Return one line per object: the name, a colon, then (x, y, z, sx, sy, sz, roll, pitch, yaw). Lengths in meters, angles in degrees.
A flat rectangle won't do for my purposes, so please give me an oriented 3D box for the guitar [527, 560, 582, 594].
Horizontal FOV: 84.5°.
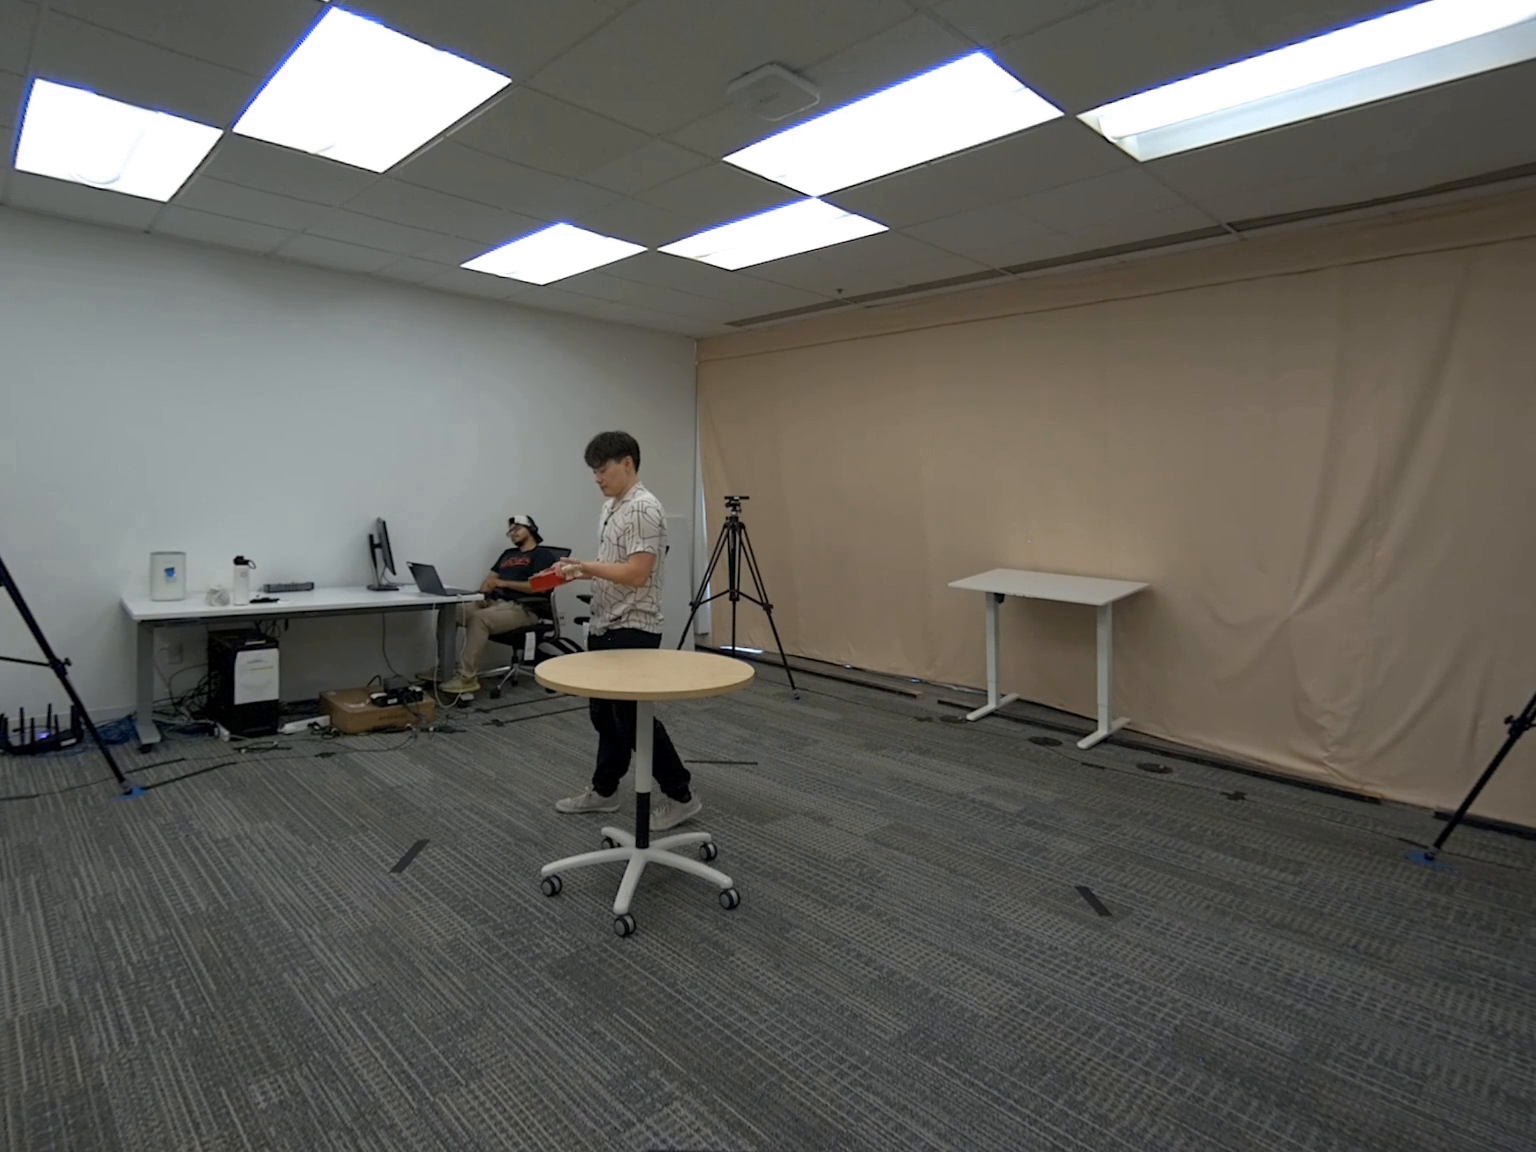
guitar: (-0.853, 0.008, 3.349, 0.191, 0.070, 0.504, -19, 7, -16)
